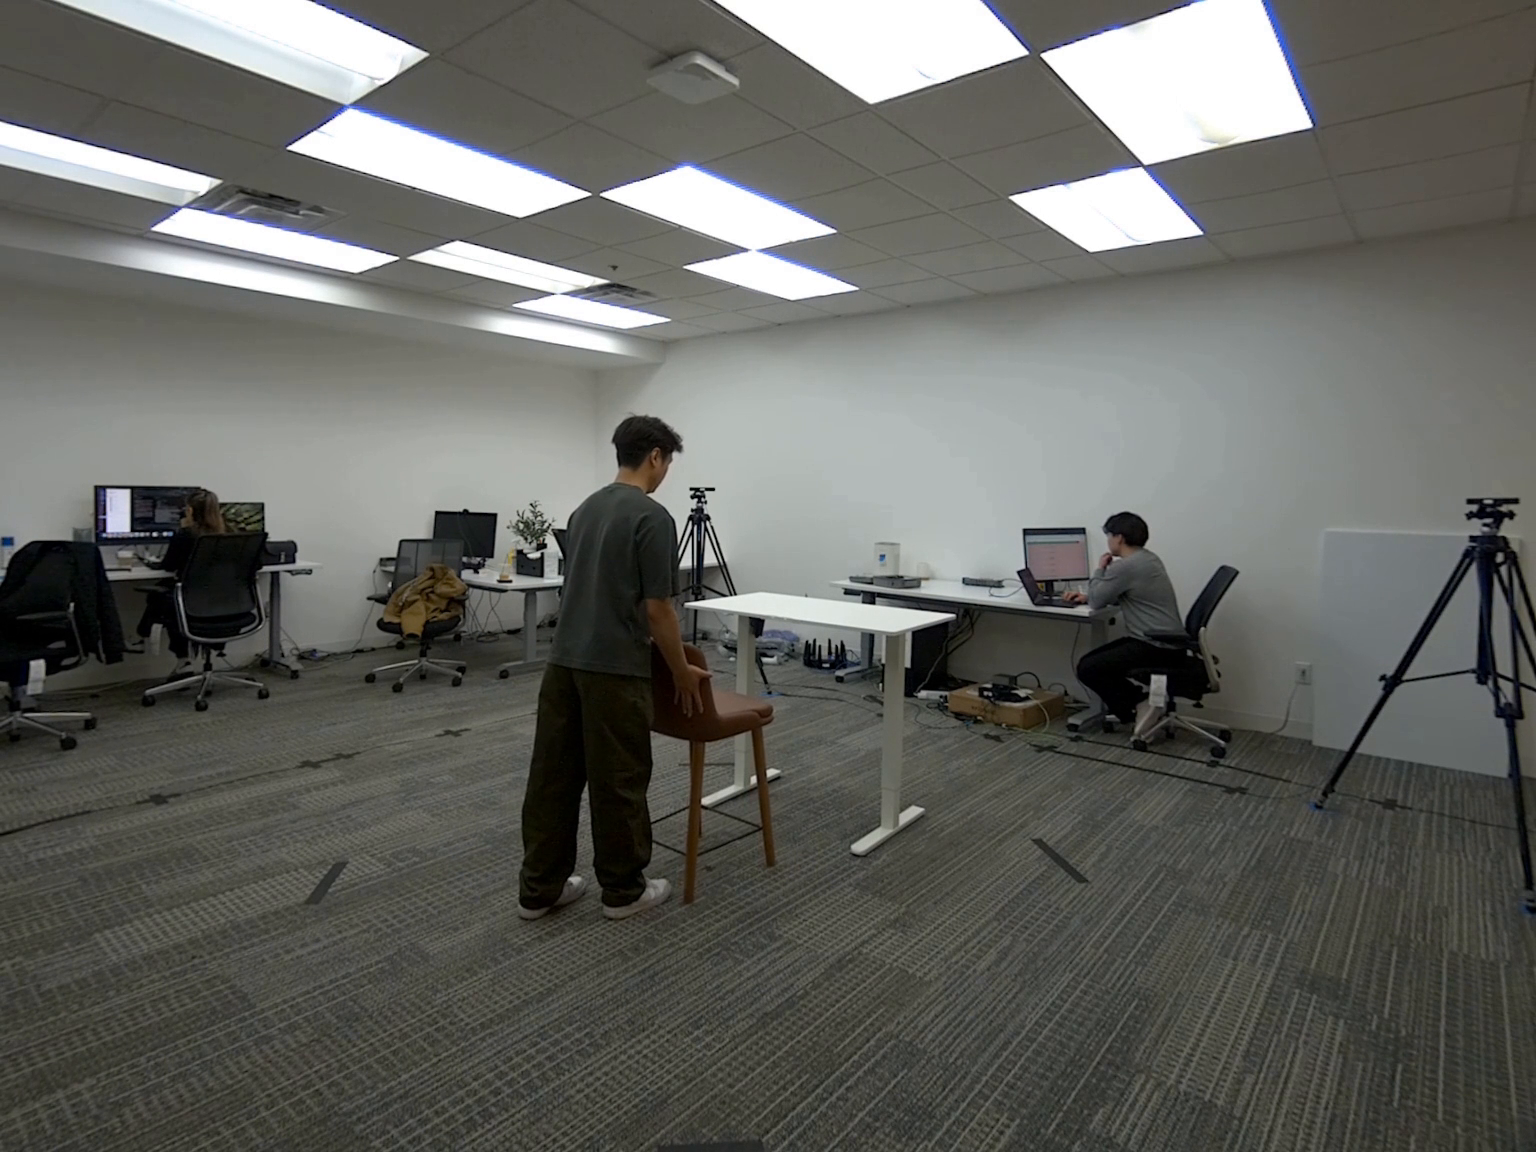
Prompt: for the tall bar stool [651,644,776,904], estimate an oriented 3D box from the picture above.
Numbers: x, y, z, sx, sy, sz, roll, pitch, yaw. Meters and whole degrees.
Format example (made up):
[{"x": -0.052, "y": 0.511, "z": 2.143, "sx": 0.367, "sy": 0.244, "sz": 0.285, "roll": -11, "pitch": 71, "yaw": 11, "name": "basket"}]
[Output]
[{"x": -0.274, "y": 0.631, "z": 3.093, "sx": 0.472, "sy": 0.886, "sz": 0.454, "roll": 5, "pitch": 6, "yaw": 41, "name": "tall bar stool"}]
